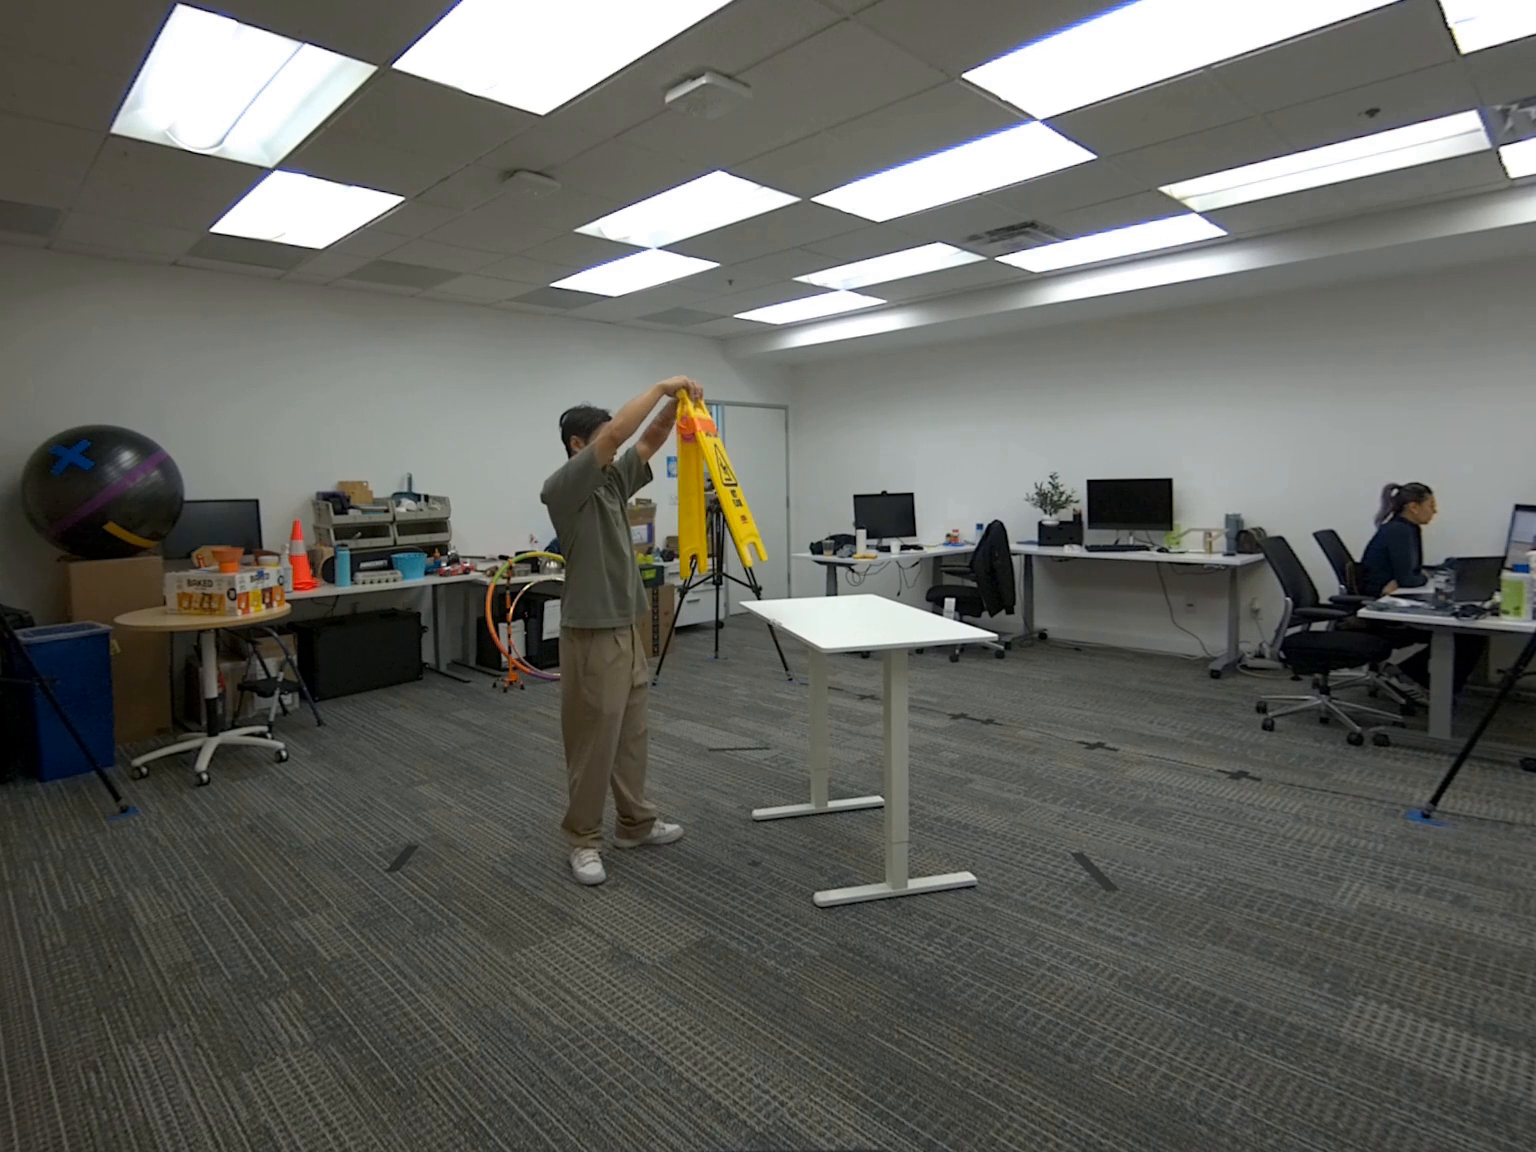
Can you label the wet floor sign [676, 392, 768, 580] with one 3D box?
[{"bbox_3d":[-0.214,-0.335,2.979,0.293,0.644,0.280,-9,3,15],"label":"wet floor sign"}]
